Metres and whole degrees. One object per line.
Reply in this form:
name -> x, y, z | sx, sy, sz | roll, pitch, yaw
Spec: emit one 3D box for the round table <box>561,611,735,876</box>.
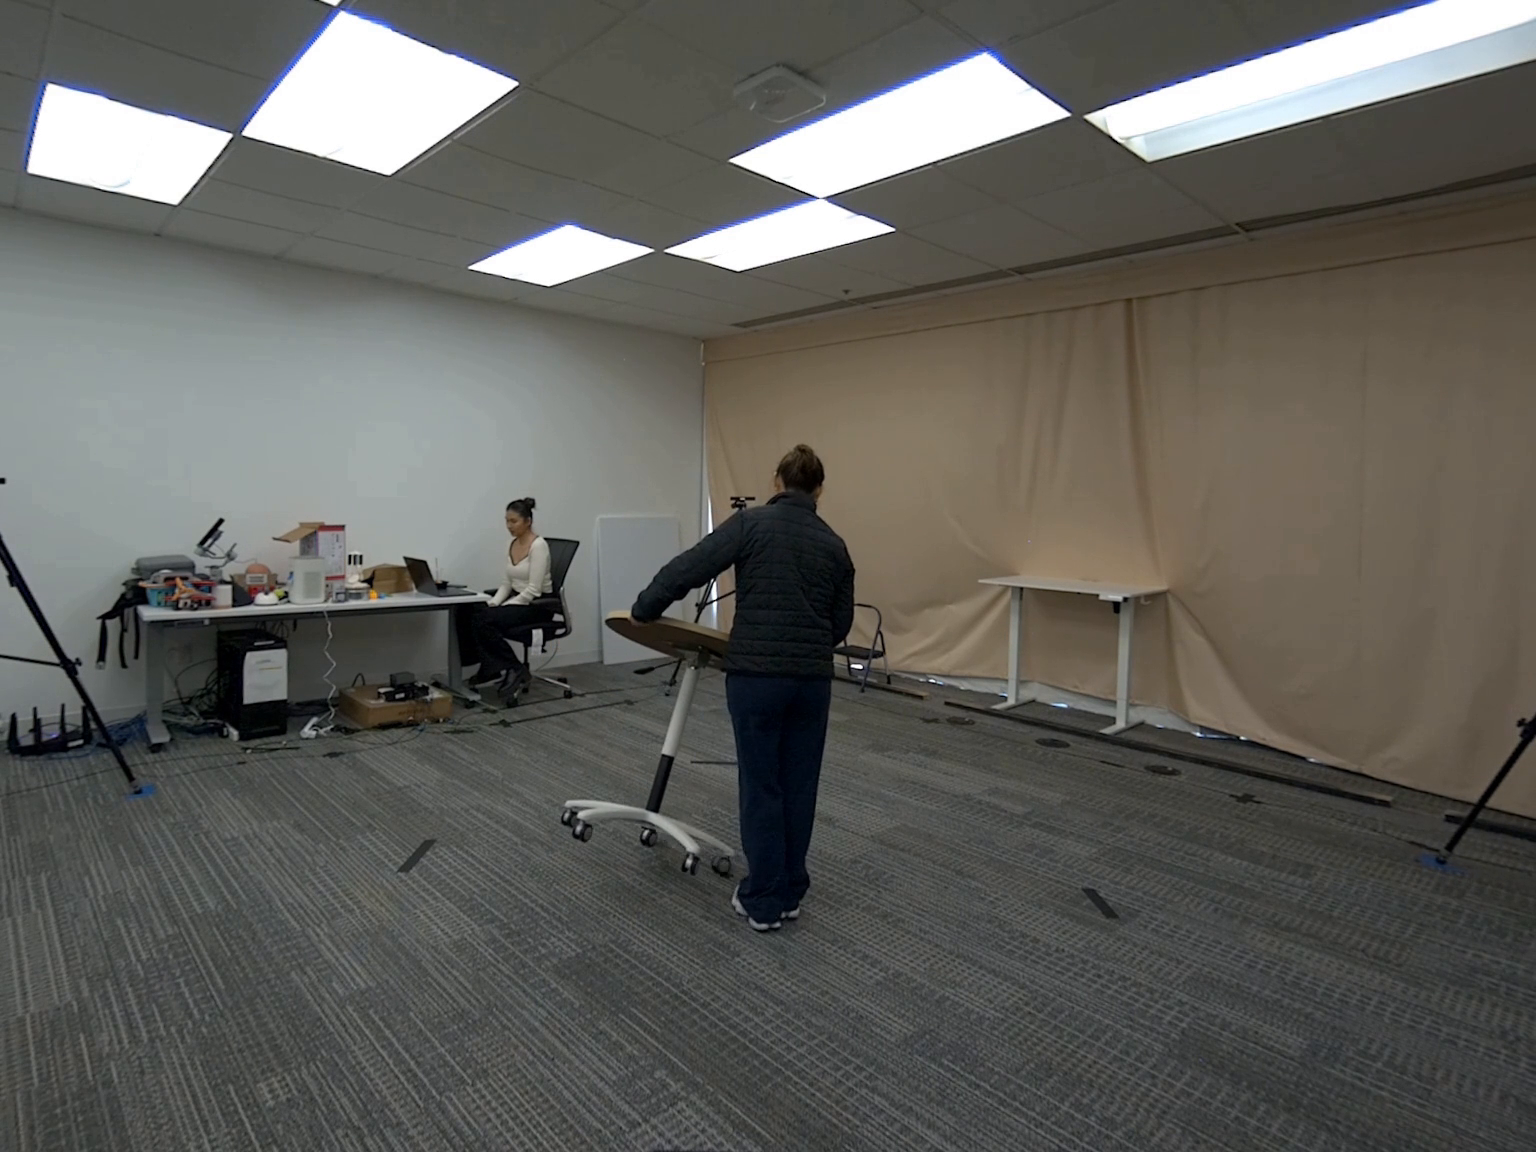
round table -> -0.365, 0.628, 3.142 | 0.788, 0.793, 0.776 | 15, -16, 3
